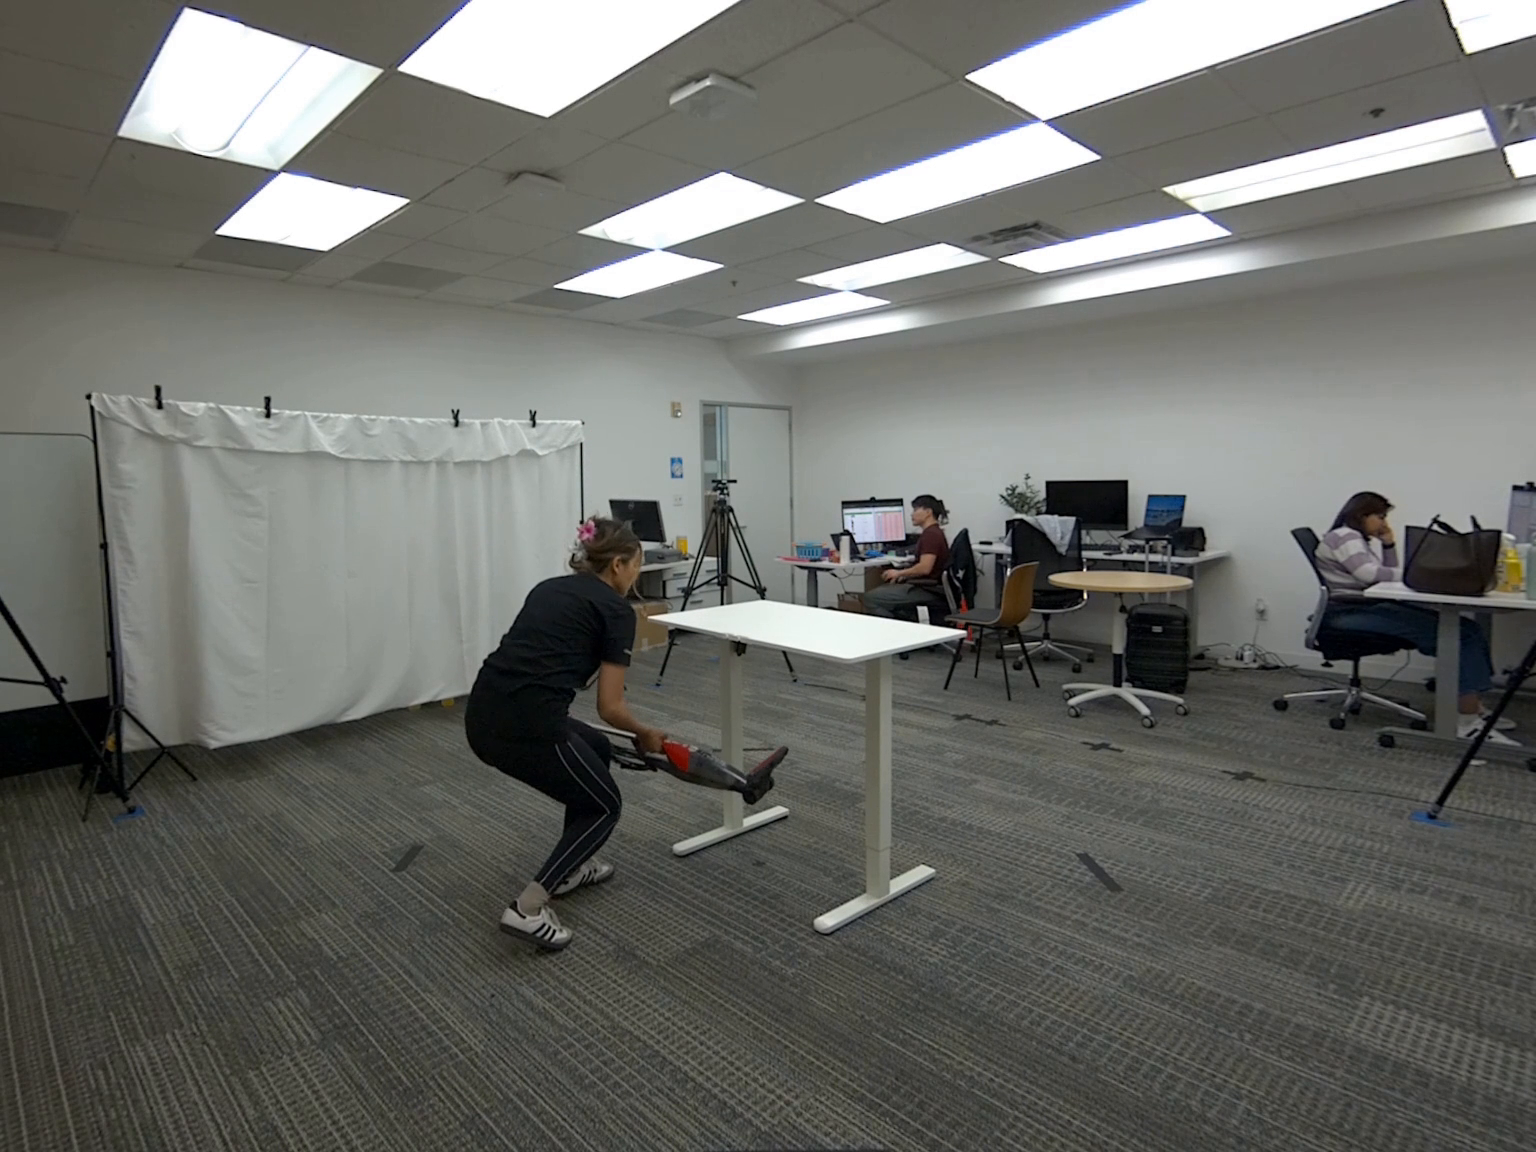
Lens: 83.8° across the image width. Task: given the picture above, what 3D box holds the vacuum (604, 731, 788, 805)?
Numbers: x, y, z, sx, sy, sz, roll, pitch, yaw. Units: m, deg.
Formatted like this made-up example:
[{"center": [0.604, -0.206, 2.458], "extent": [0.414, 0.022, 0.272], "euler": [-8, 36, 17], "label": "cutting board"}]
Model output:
[{"center": [-0.460, 0.606, 3.016], "extent": [1.078, 0.142, 0.248], "euler": [5, 14, 30], "label": "vacuum"}]
